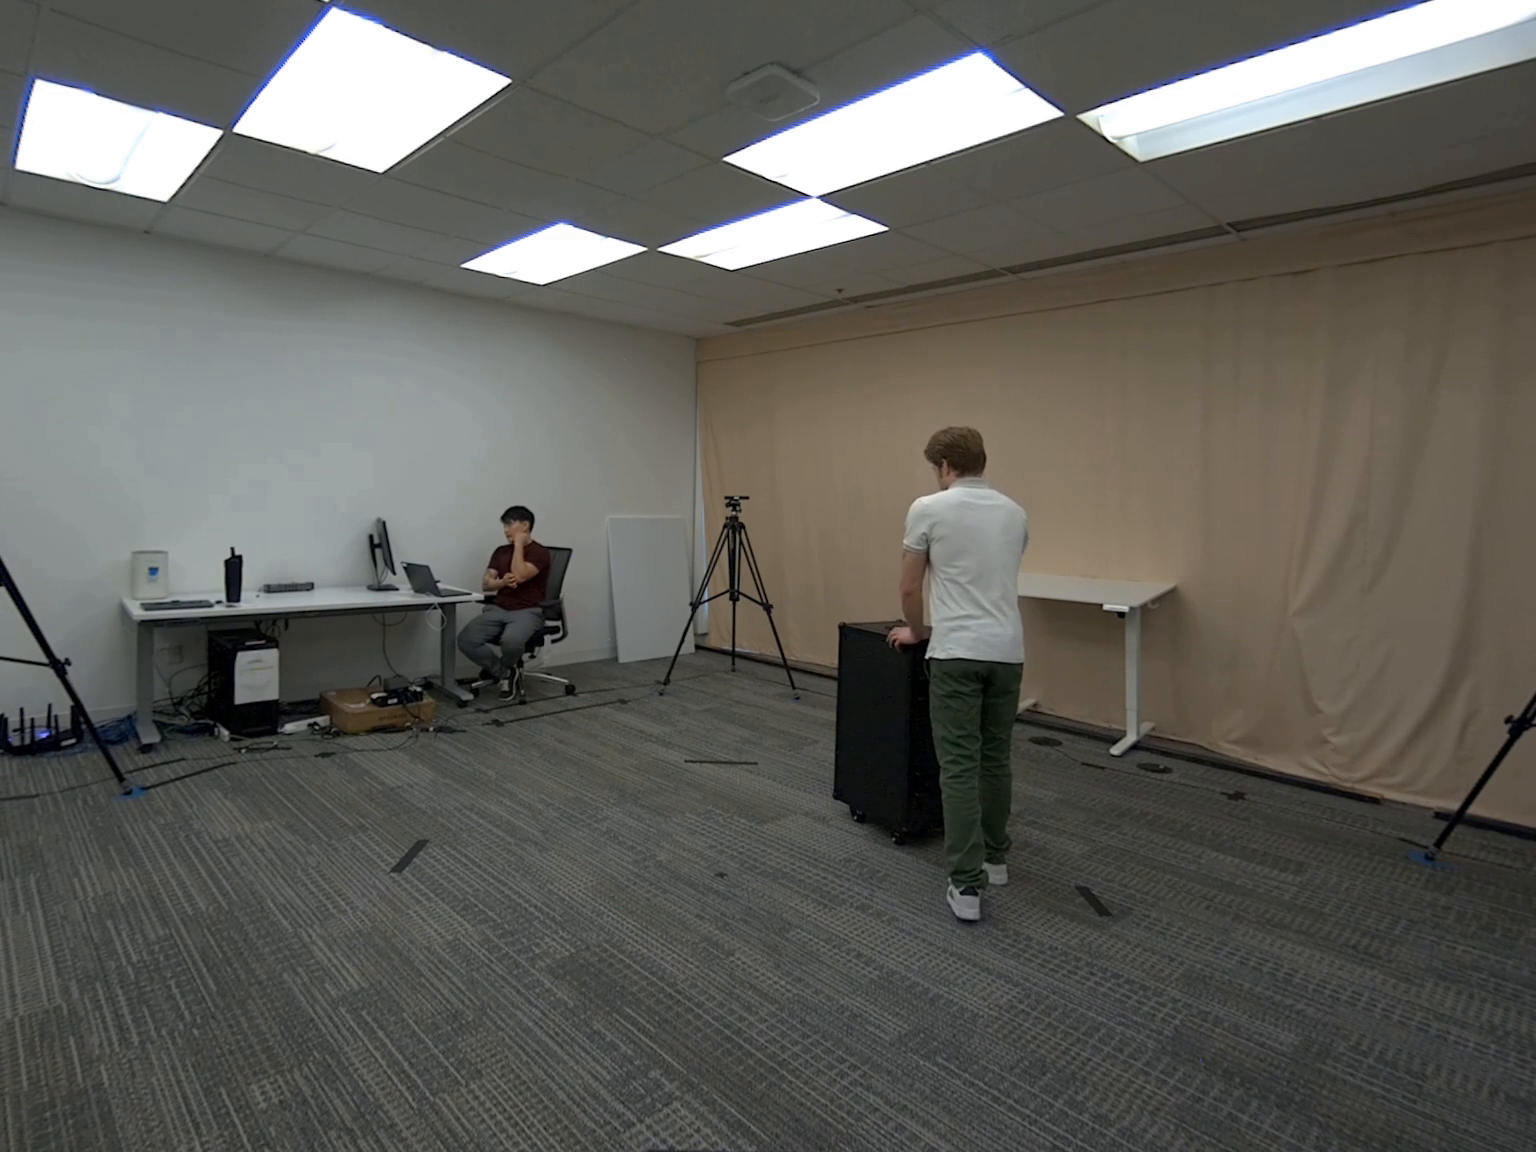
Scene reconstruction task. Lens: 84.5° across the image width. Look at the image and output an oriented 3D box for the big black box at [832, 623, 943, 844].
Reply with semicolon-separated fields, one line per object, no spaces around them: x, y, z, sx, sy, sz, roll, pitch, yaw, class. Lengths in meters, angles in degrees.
0.563;0.652;3.623;0.377;0.866;0.536;0;4;-32;big black box
